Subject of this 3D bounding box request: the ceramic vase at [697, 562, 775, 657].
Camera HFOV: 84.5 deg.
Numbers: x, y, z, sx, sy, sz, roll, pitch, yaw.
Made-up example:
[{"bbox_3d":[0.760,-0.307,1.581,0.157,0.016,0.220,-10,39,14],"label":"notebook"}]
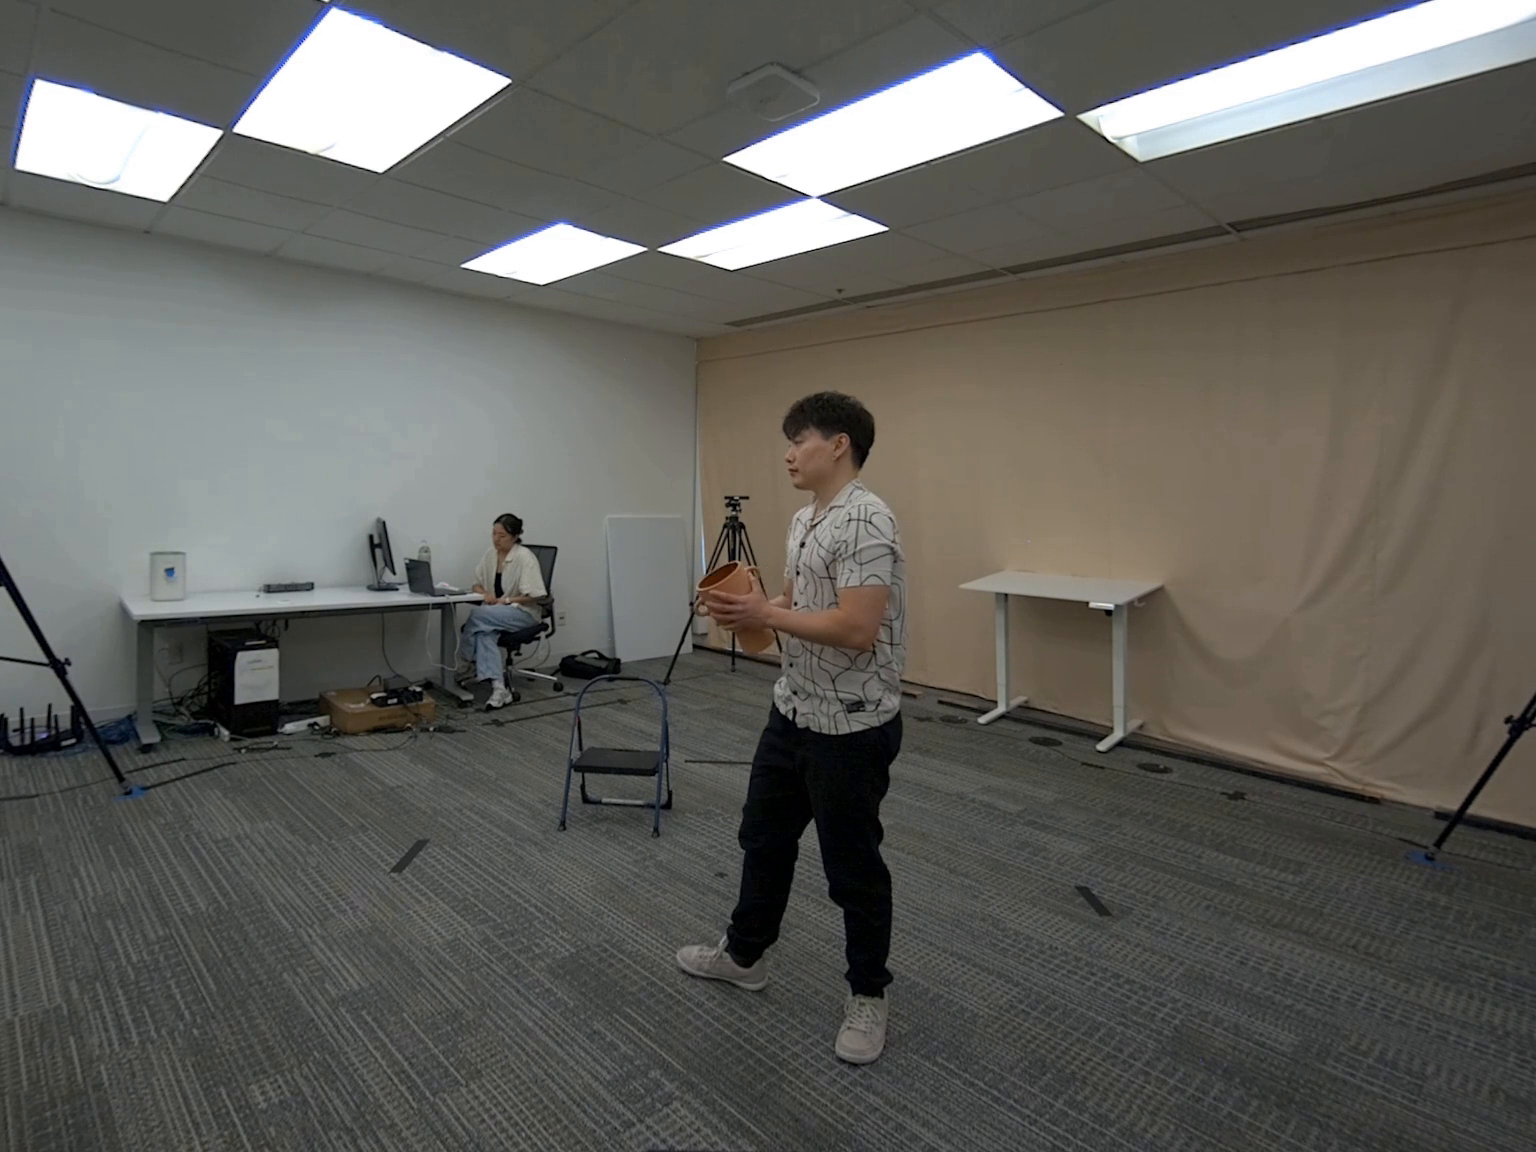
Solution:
[{"bbox_3d":[-0.085,0.083,2.165,0.161,0.216,0.135,-20,18,34],"label":"ceramic vase"}]
